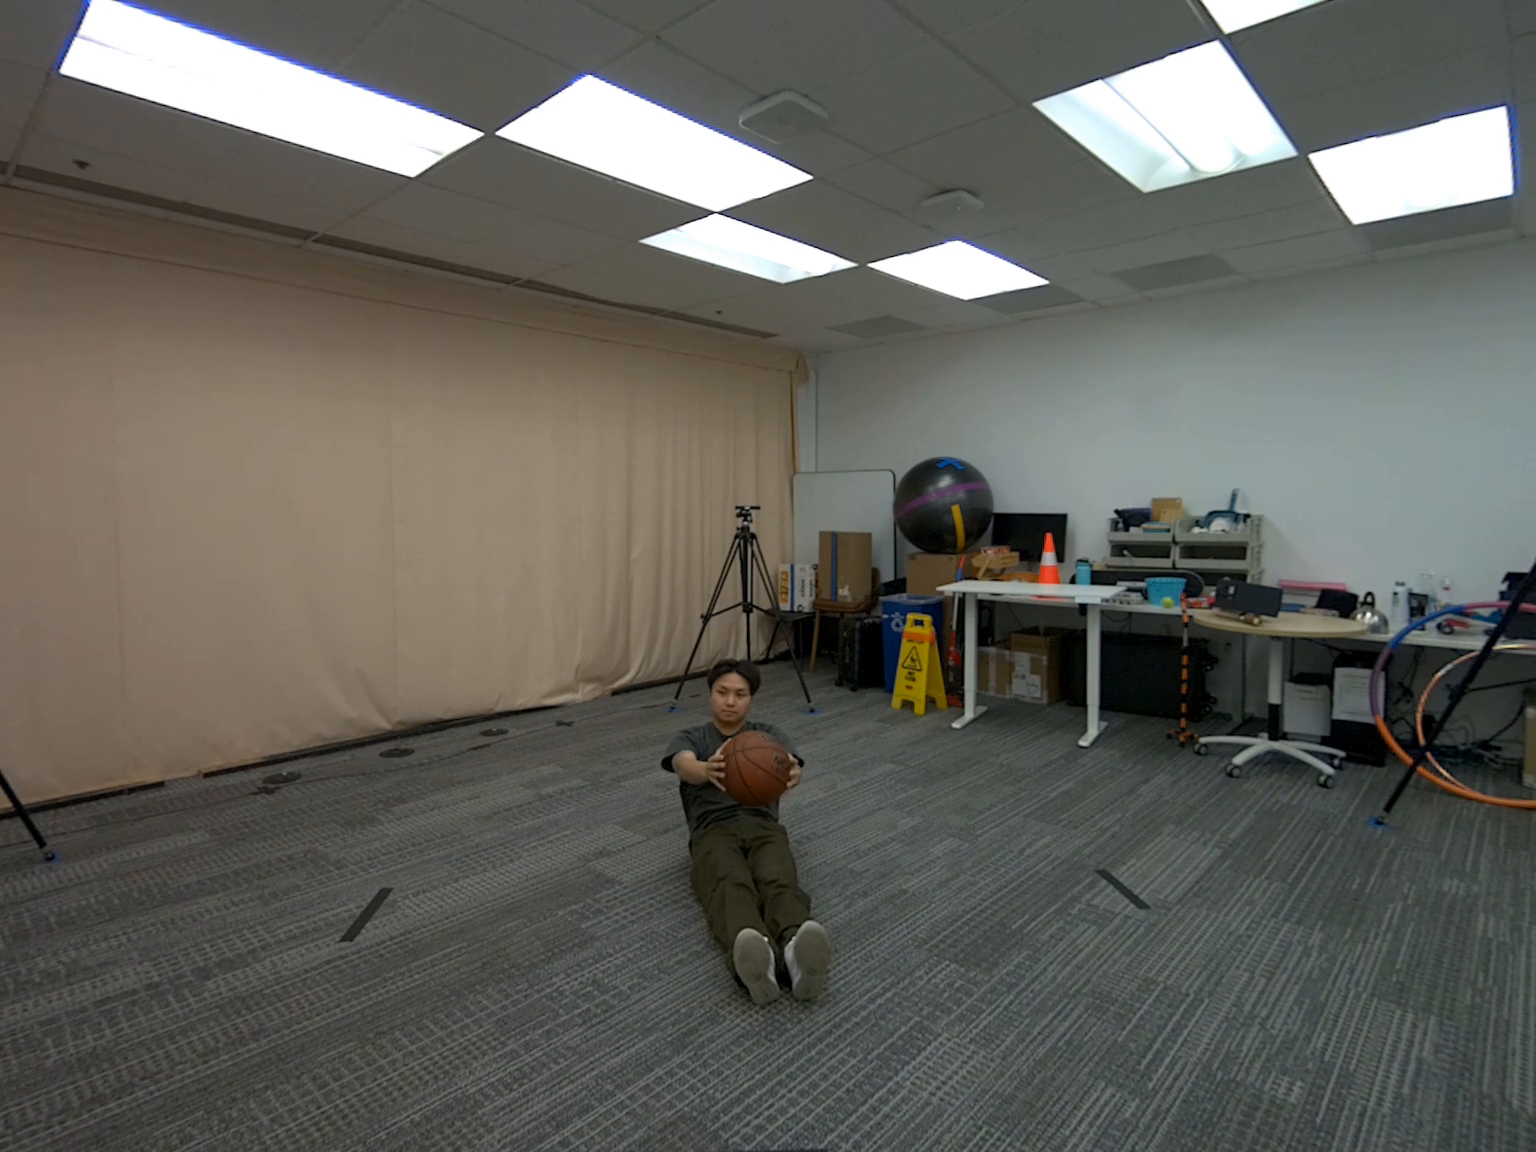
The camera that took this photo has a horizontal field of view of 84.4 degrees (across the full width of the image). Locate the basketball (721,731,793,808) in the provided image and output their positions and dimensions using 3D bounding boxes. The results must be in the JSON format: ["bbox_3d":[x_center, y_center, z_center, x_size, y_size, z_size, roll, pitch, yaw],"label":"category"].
[{"bbox_3d":[-0.038,0.623,2.724,0.236,0.235,0.237,0,4,-2],"label":"basketball"}]
